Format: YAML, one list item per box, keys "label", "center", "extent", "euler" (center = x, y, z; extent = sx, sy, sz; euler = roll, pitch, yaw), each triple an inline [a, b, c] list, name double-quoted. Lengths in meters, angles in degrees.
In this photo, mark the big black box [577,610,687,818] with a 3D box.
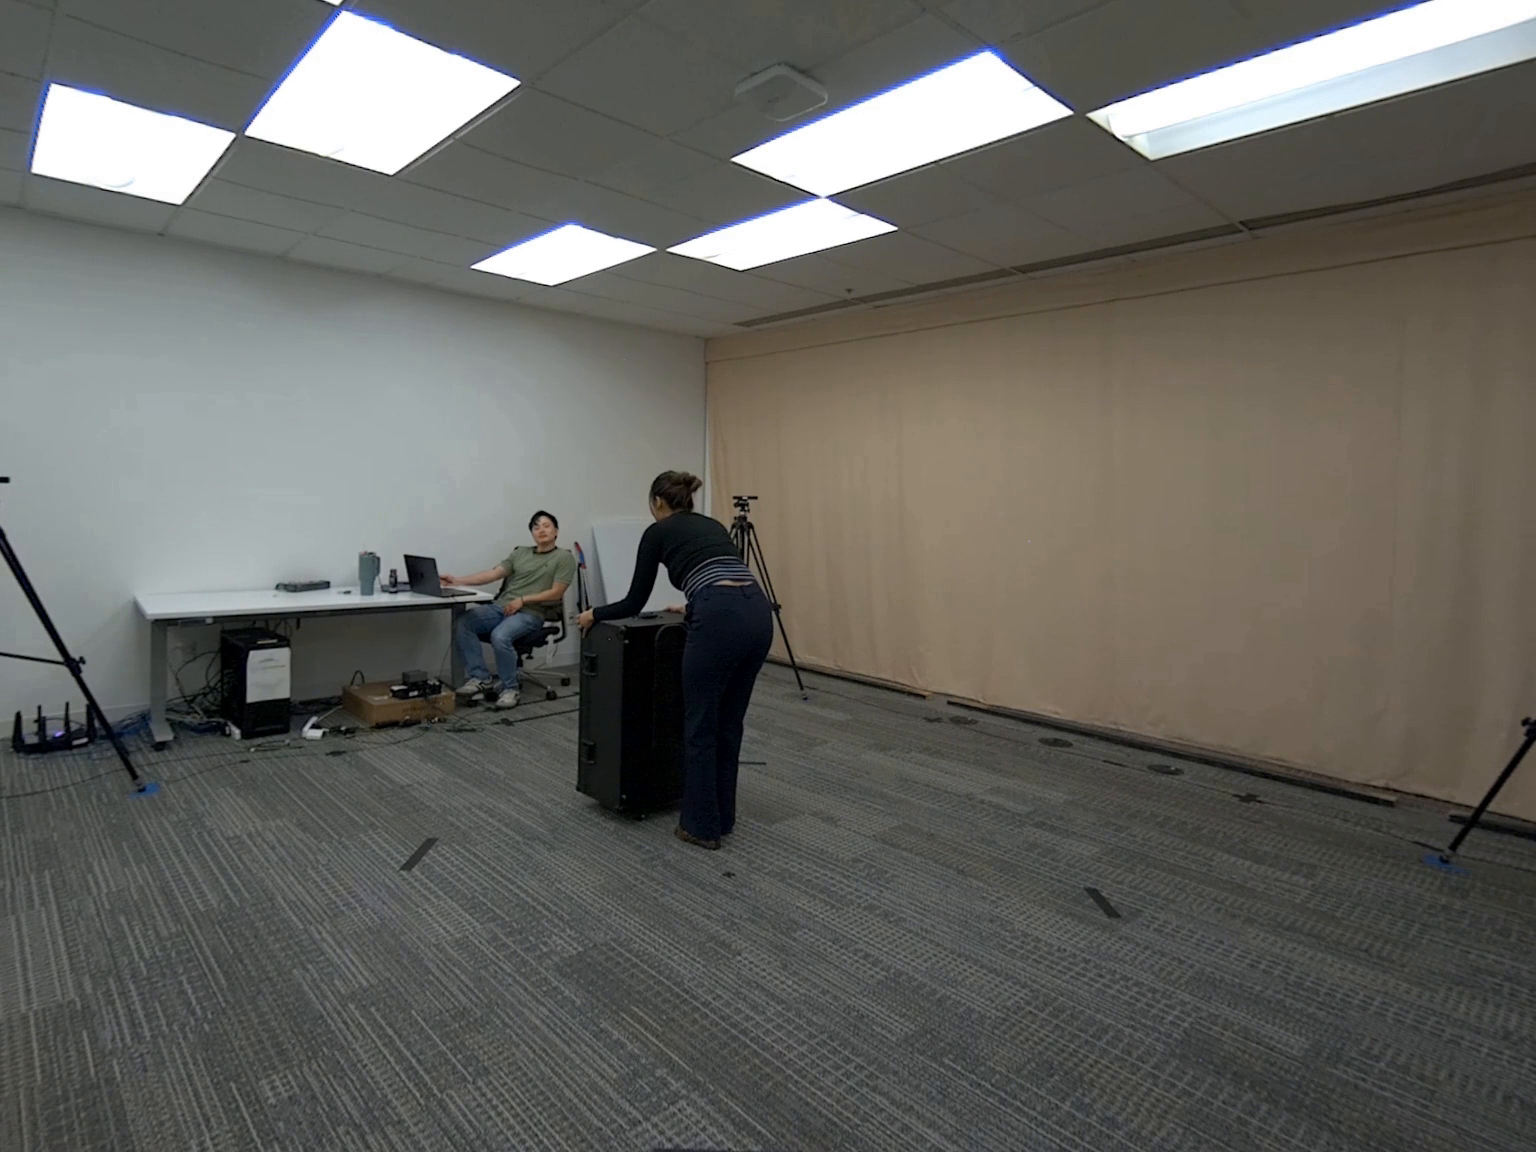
- label: "big black box"
  center: [-0.544, 0.611, 3.753]
  extent: [0.509, 0.859, 0.407]
  euler: [-1, 6, -41]
